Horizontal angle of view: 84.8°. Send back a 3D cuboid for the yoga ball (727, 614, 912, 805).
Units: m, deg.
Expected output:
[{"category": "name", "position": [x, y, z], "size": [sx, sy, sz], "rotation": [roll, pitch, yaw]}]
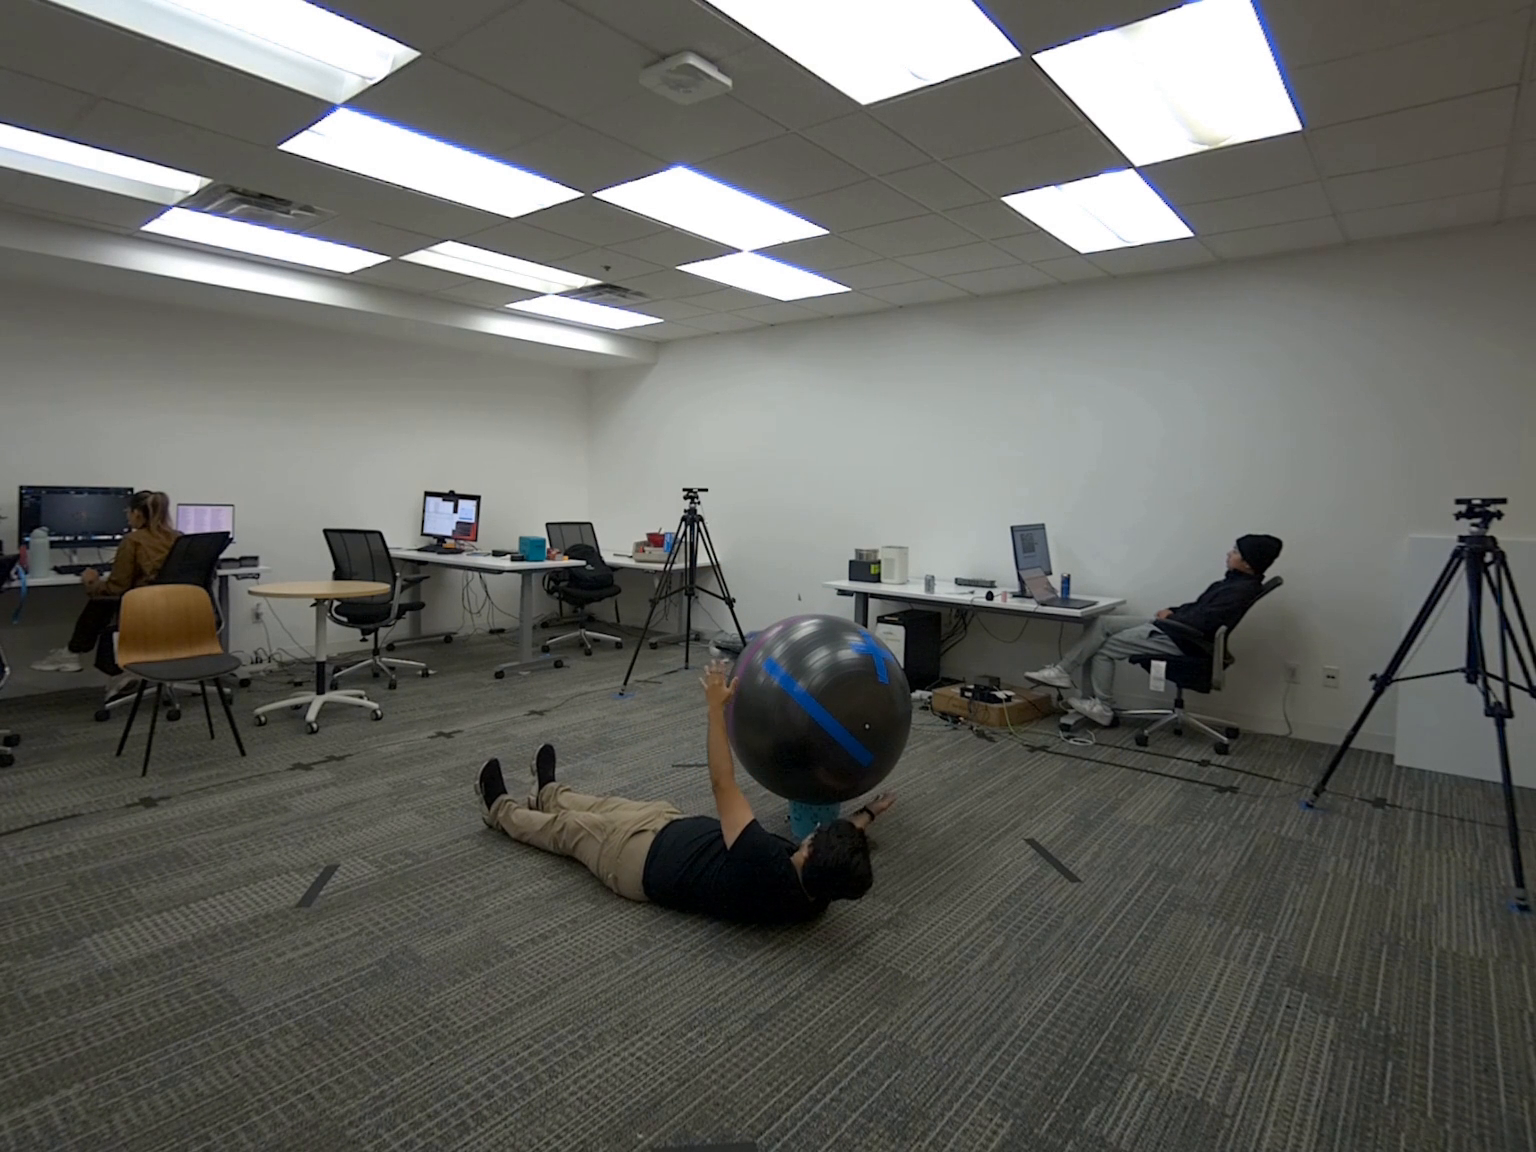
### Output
[{"category": "yoga ball", "position": [0.195, 0.536, 3.464], "size": [0.757, 0.756, 0.761], "rotation": [0, 4, -2]}]
